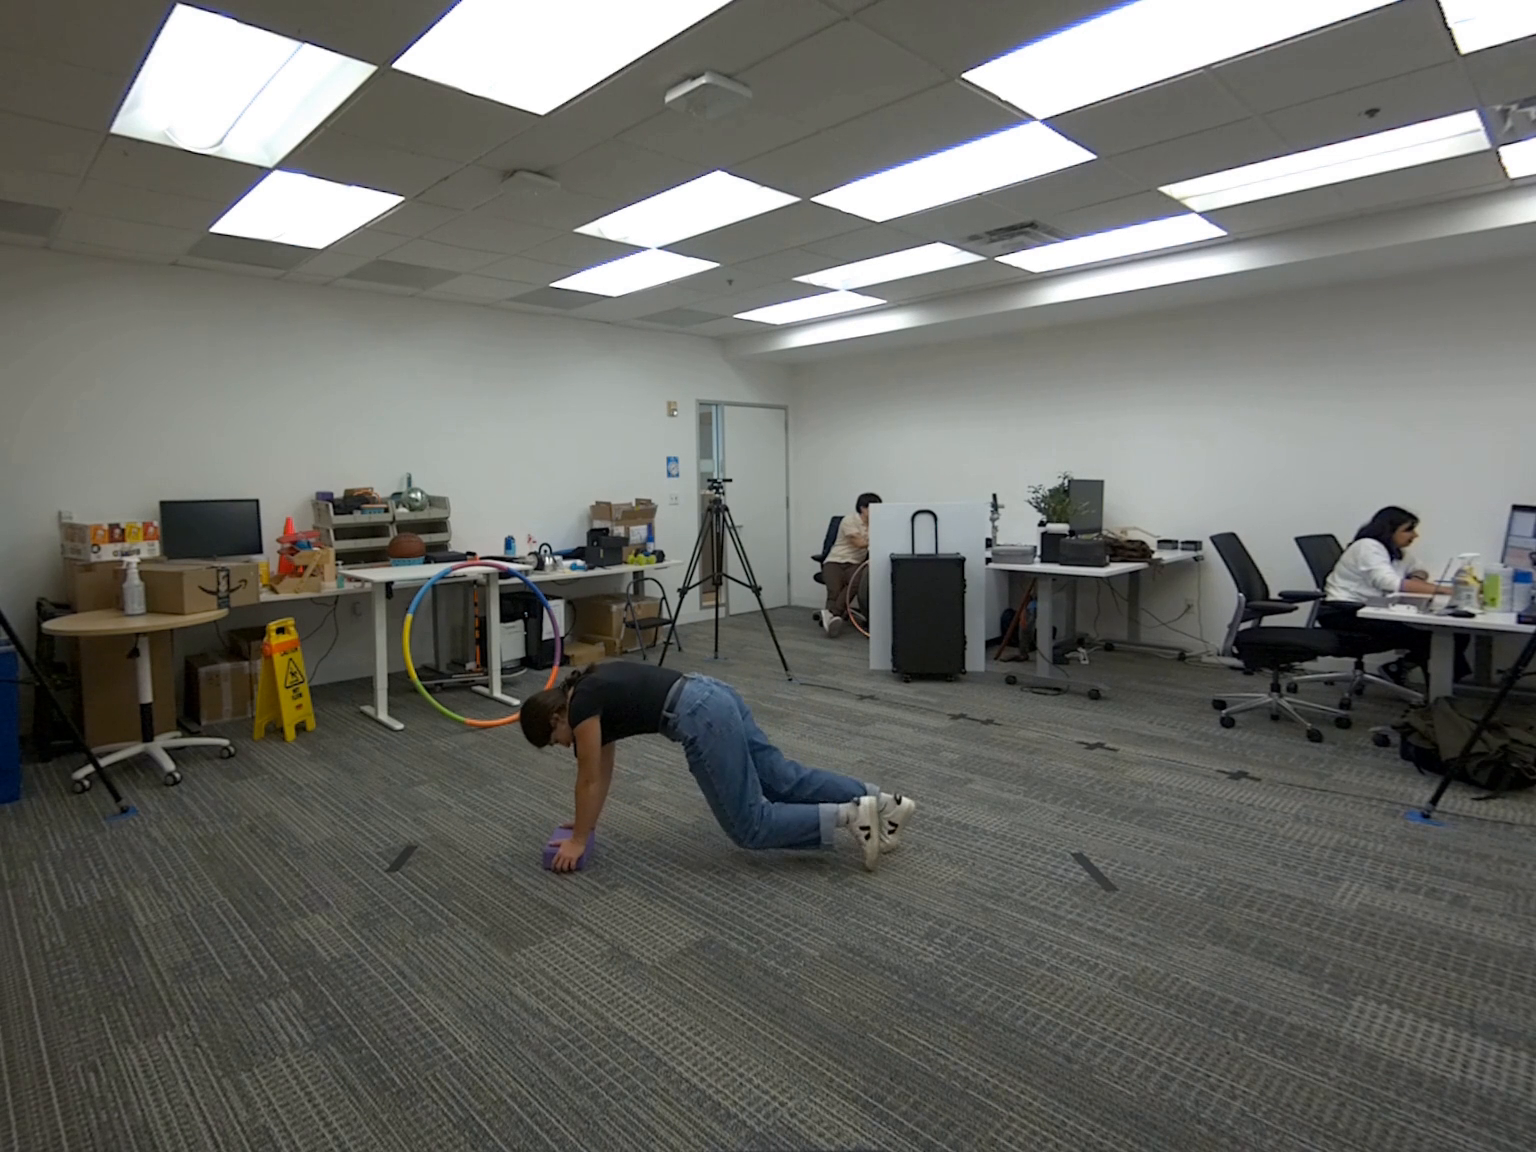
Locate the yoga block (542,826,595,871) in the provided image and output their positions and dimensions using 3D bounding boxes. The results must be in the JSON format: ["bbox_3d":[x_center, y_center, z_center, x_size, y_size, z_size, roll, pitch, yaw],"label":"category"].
[{"bbox_3d":[-0.738,1.011,3.193,0.149,0.076,0.230,0,7,0],"label":"yoga block"}]
